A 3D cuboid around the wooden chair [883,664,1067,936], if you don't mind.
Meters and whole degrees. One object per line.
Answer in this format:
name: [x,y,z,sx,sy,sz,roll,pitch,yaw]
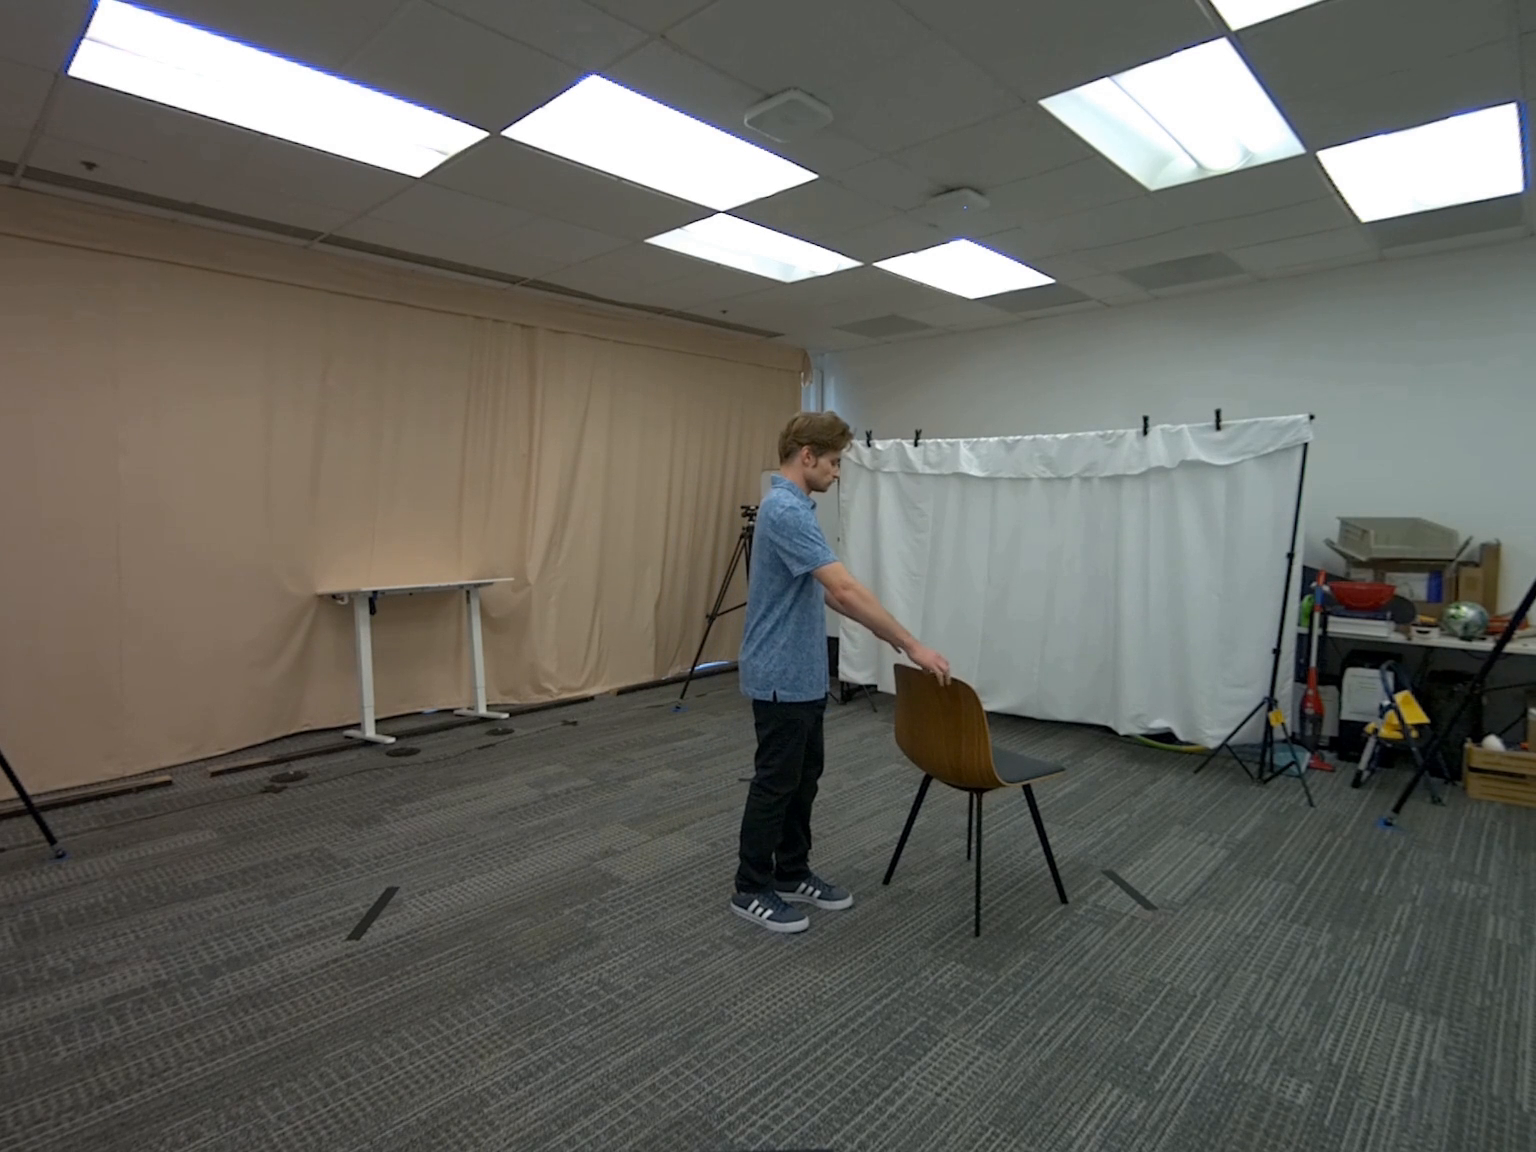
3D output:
wooden chair: [0.745,0.712,2.990,0.509,0.874,0.493,-7,6,-33]
